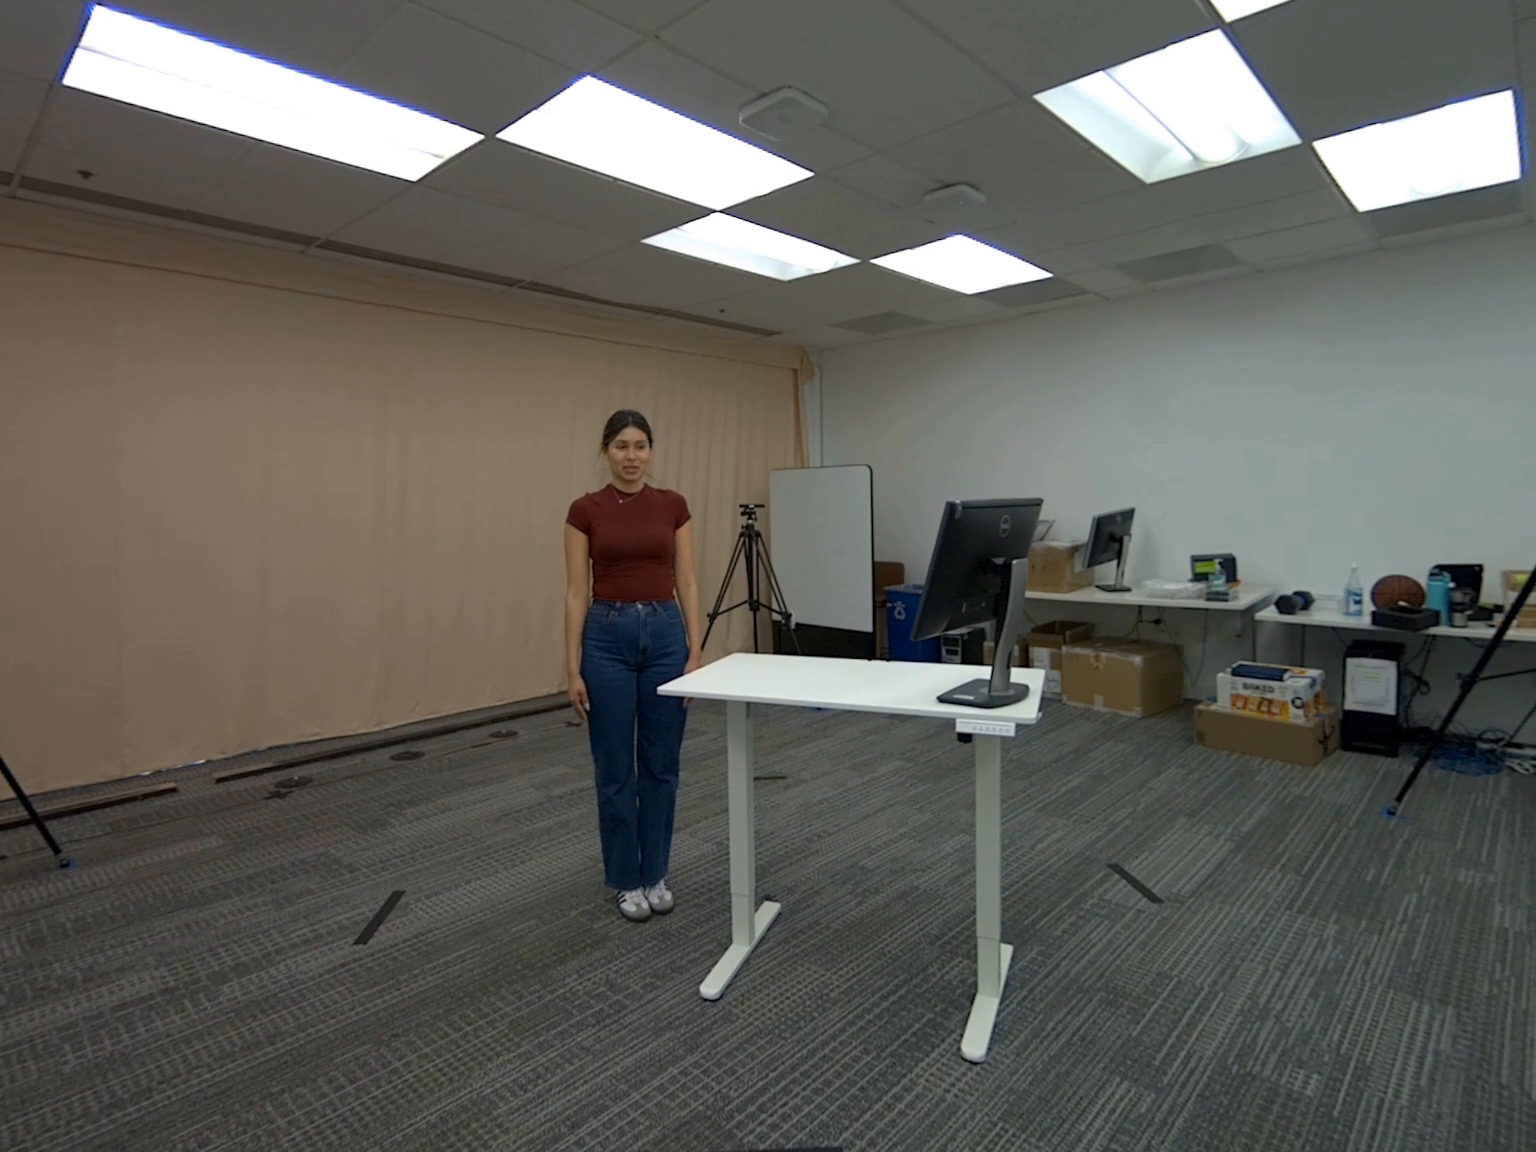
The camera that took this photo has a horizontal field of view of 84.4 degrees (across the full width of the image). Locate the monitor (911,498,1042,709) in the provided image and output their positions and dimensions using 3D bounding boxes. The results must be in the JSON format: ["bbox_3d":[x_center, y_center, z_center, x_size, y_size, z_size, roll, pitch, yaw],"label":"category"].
[{"bbox_3d":[0.592,0.065,2.176,0.193,0.521,0.523,5,7,38],"label":"monitor"}]
